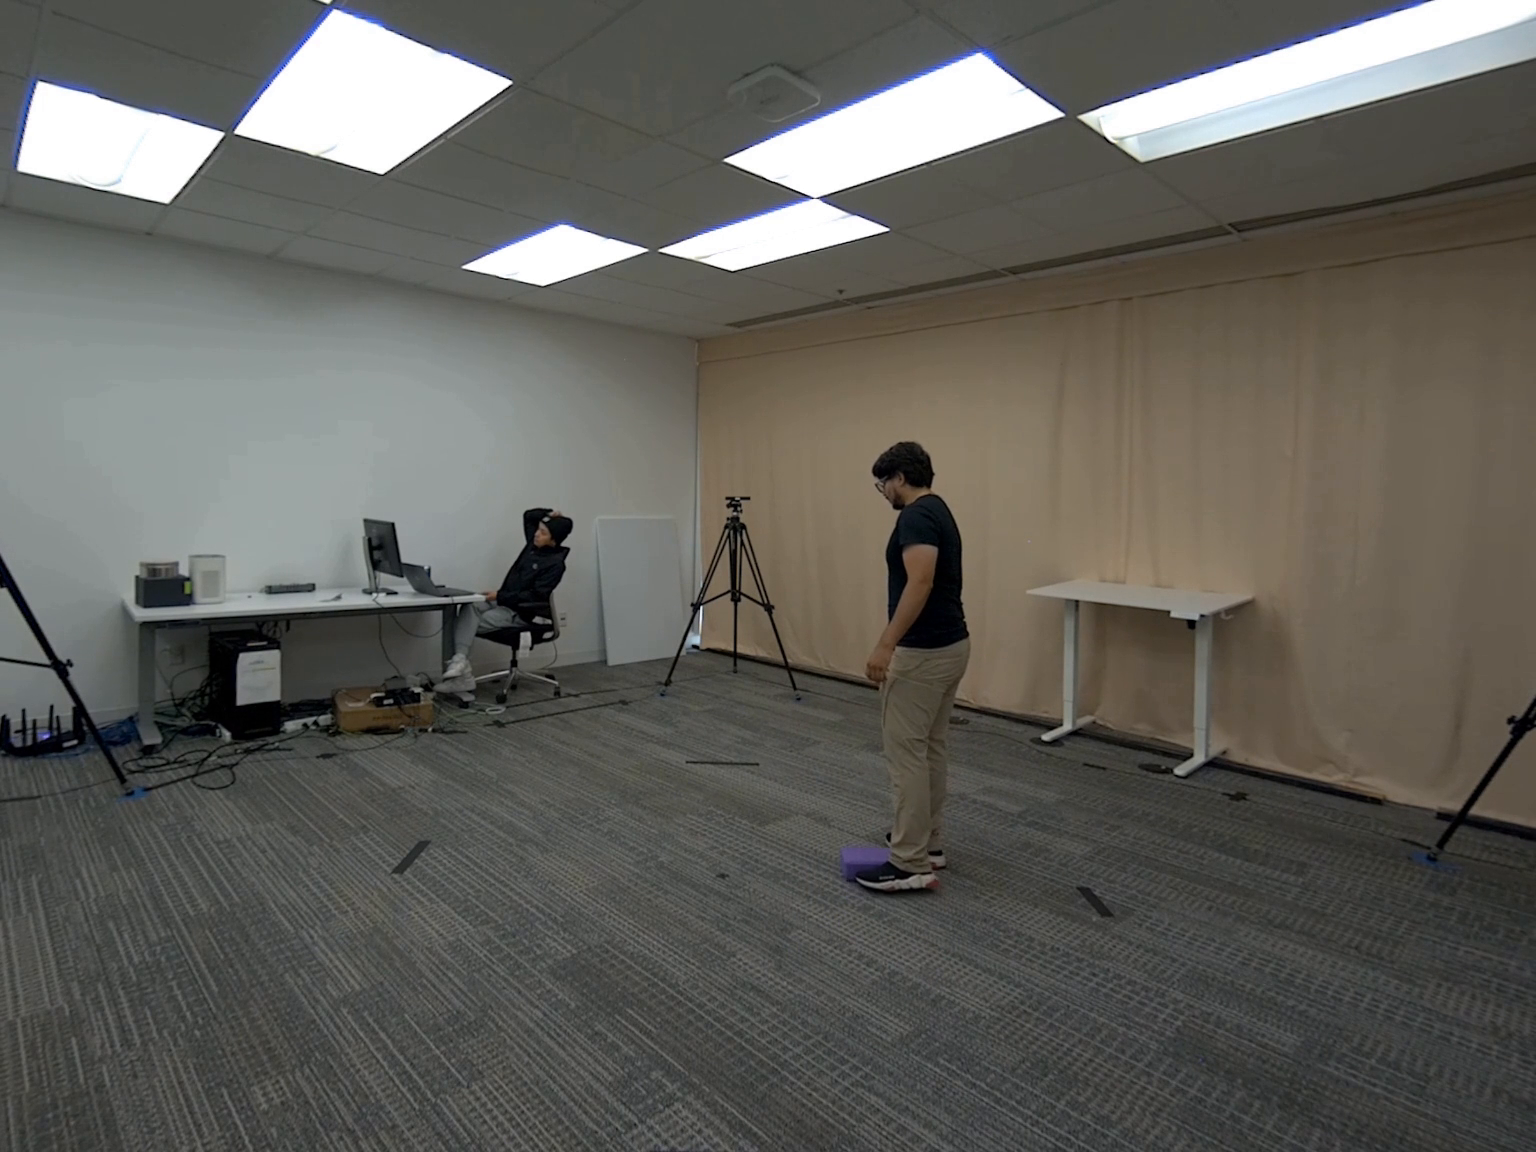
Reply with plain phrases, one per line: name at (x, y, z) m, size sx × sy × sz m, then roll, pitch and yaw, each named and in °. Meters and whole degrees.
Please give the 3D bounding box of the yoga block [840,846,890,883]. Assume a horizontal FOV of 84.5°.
yoga block at (0.388, 1.078, 3.145) m, size 0.229 × 0.076 × 0.149 m, roll 2°, pitch 4°, yaw 0°
